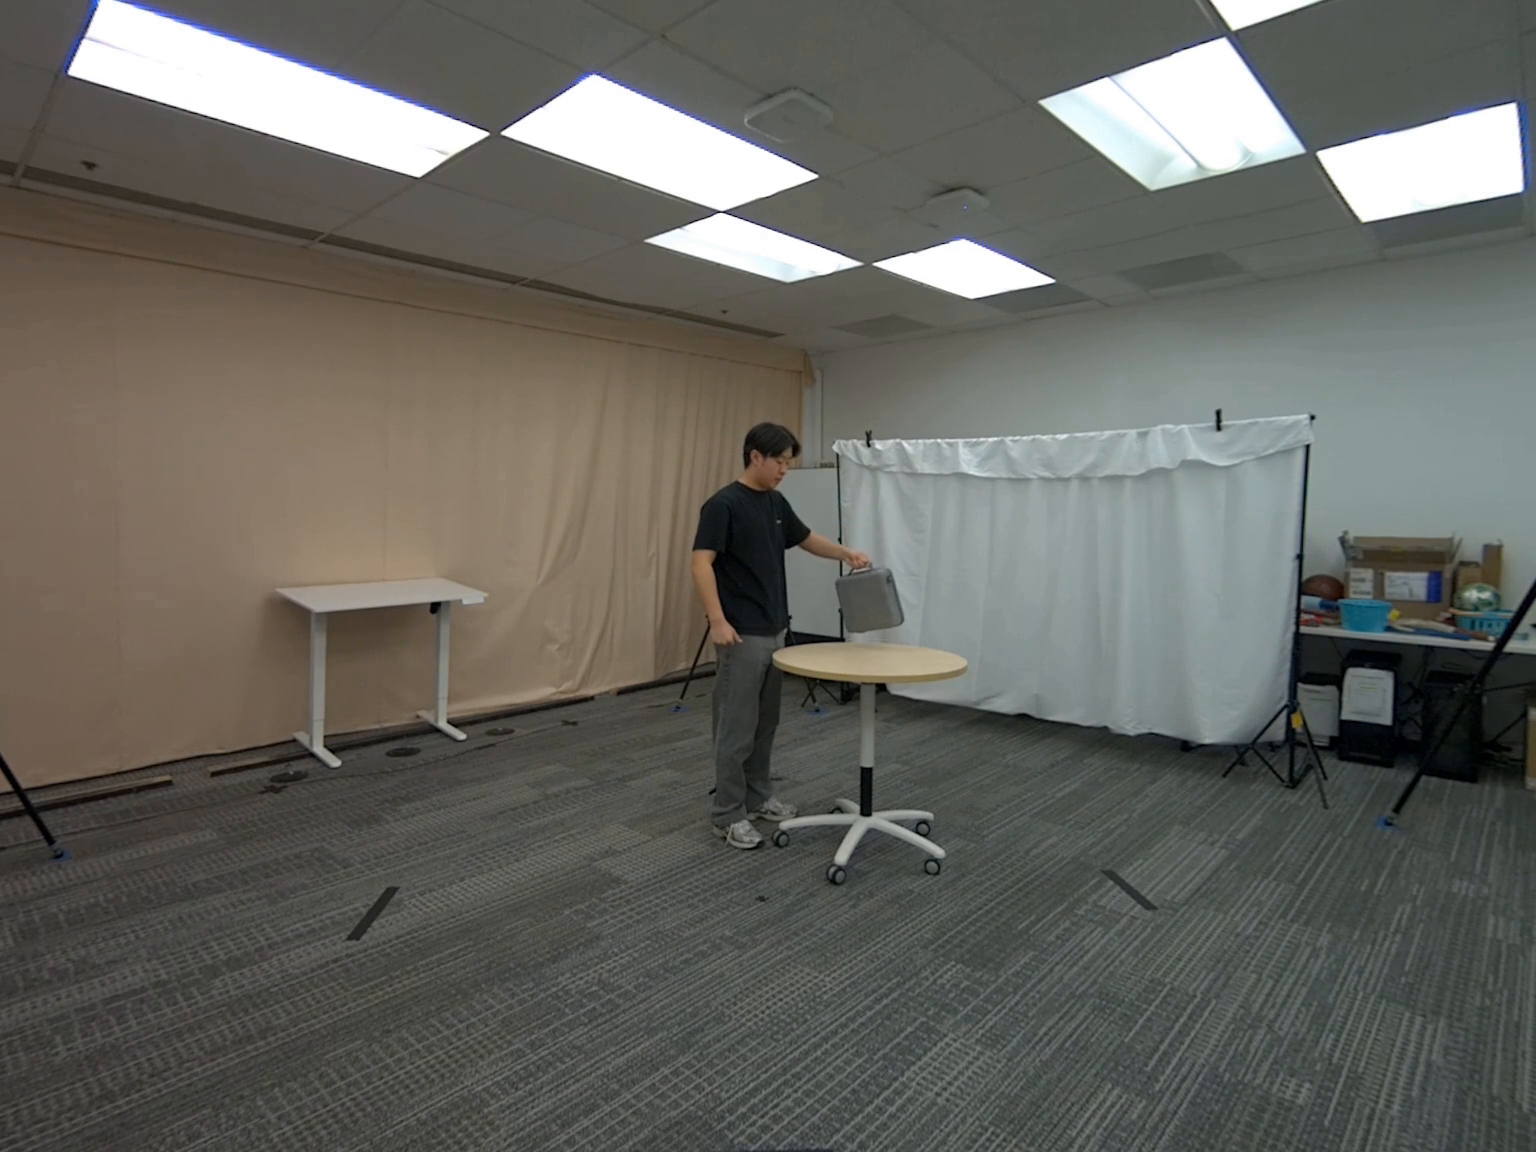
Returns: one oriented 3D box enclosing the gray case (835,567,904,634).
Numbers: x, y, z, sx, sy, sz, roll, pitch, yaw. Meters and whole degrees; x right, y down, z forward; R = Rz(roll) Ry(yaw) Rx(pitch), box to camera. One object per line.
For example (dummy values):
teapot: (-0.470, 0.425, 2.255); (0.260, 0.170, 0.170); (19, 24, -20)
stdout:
gray case: (0.434, 0.094, 3.601); (0.270, 0.287, 0.100); (-14, 1, 38)
